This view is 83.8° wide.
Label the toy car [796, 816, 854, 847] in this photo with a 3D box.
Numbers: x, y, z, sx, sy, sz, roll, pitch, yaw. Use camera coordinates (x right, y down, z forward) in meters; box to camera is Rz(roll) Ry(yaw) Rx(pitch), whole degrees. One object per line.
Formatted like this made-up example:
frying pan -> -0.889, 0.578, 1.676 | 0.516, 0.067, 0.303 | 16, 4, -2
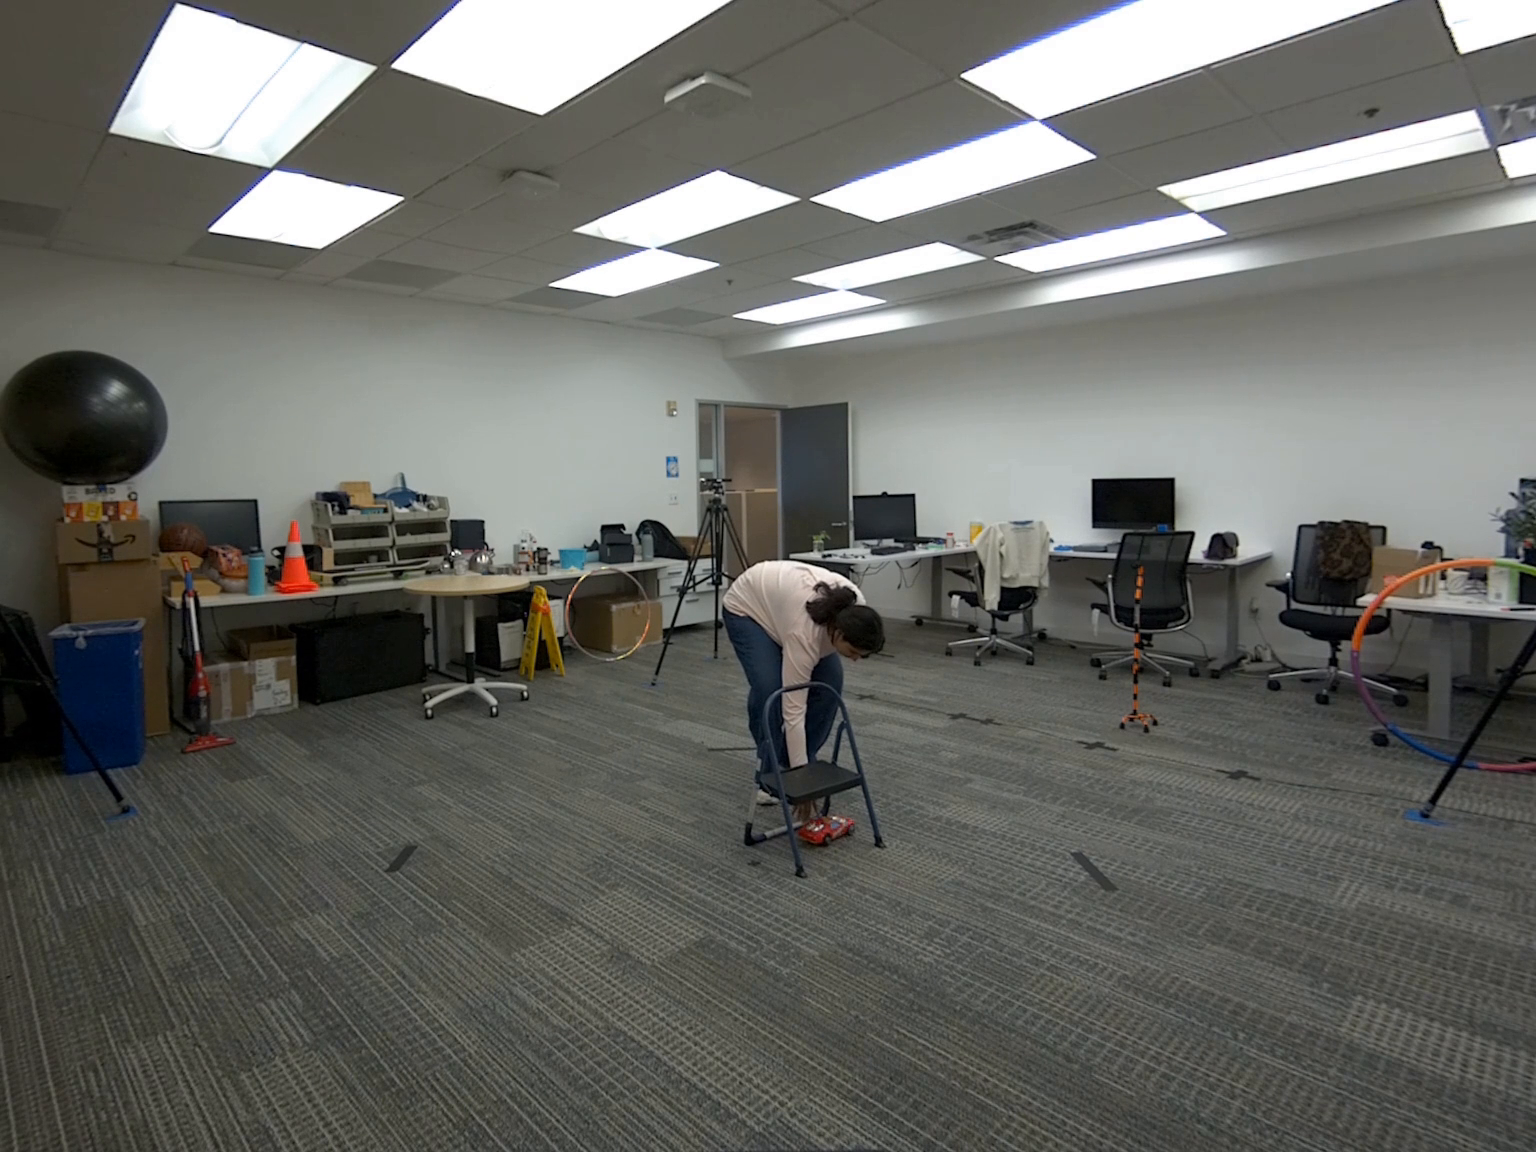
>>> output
toy car -> 0.213, 0.983, 3.312 | 0.246, 0.083, 0.134 | 8, -1, -44
